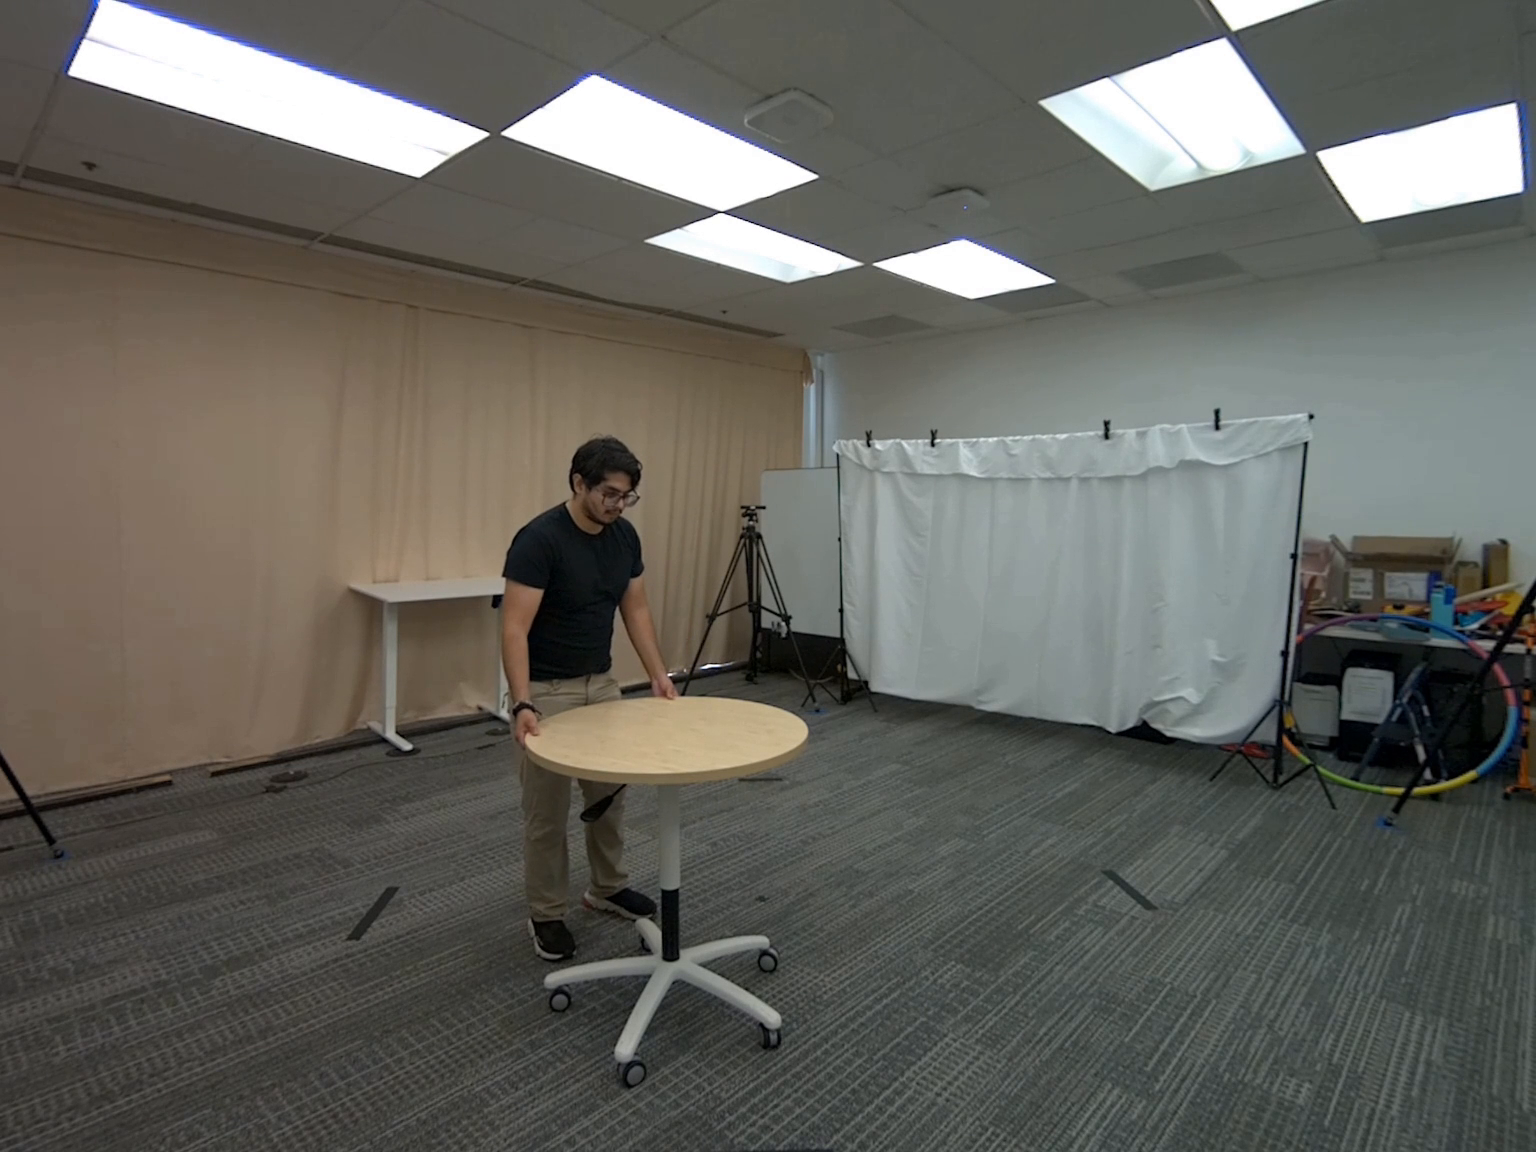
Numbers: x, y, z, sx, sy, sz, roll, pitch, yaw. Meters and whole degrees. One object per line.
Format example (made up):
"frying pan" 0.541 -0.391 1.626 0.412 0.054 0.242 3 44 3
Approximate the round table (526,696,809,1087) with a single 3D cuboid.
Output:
"round table" -0.270 0.809 2.311 0.784 0.785 0.788 -1 4 -2
